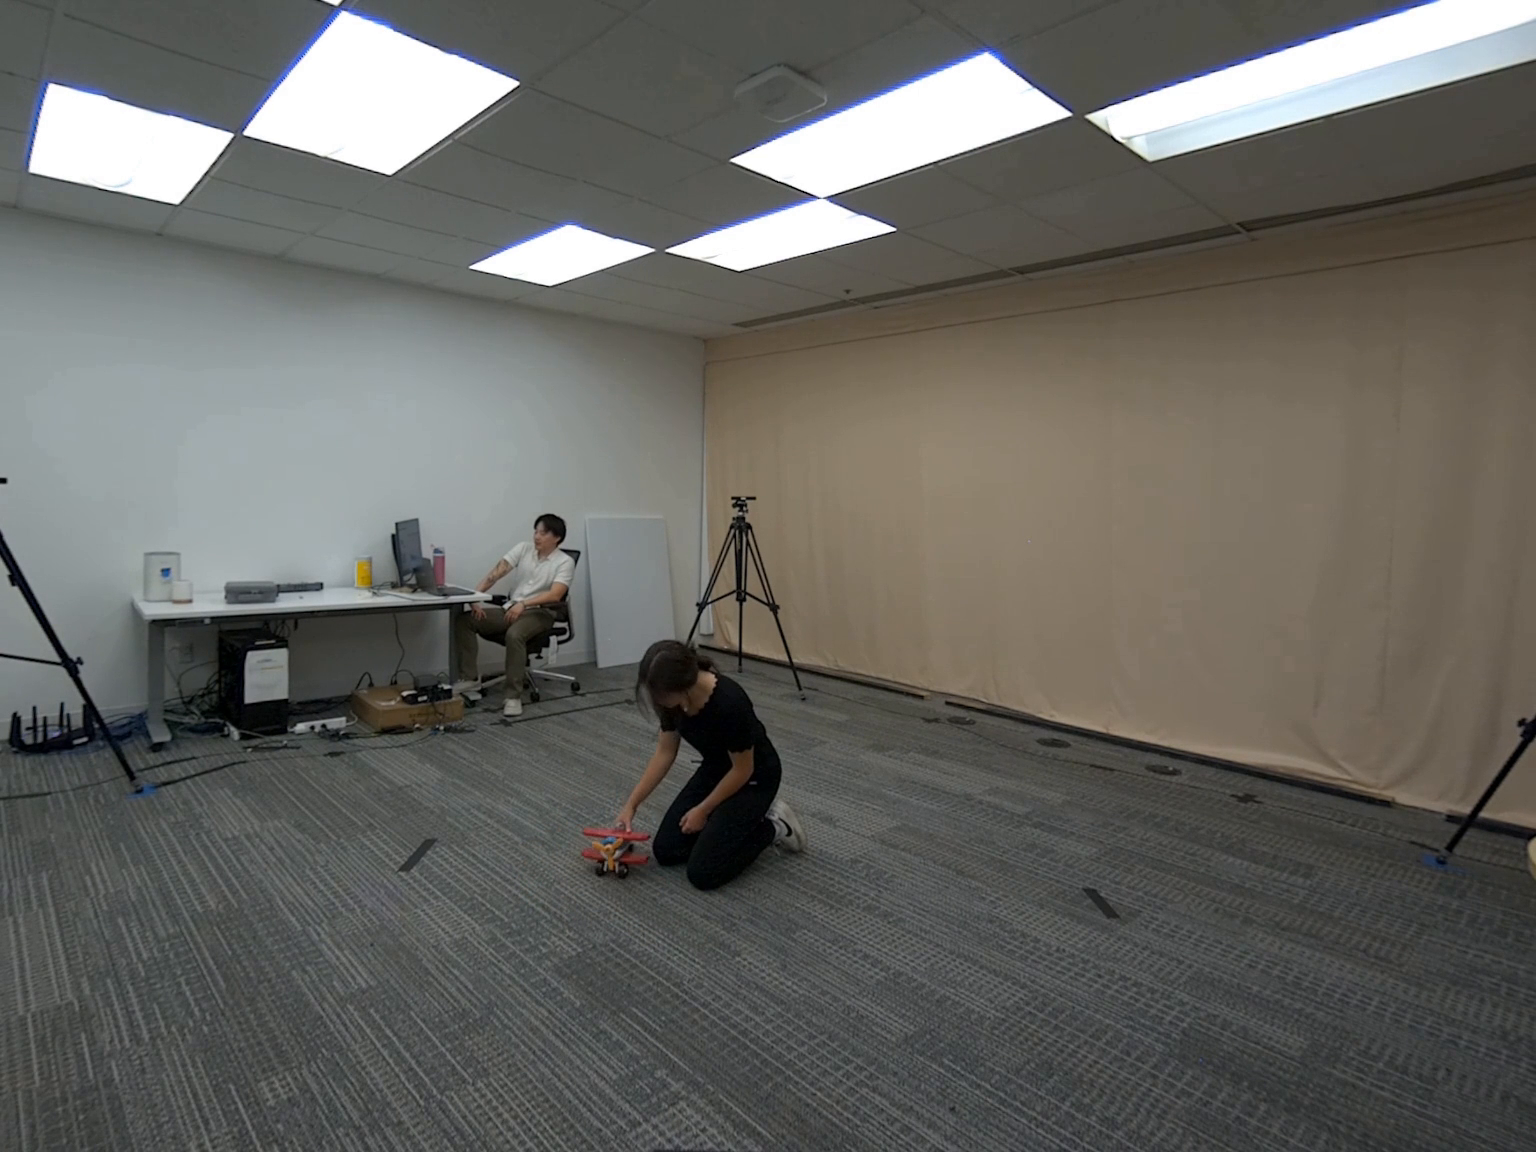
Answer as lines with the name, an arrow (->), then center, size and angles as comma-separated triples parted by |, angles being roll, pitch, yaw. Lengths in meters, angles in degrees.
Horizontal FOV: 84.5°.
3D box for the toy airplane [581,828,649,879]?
toy airplane -> -0.578, 1.010, 3.145 | 0.248, 0.155, 0.264 | -3, 10, -18
